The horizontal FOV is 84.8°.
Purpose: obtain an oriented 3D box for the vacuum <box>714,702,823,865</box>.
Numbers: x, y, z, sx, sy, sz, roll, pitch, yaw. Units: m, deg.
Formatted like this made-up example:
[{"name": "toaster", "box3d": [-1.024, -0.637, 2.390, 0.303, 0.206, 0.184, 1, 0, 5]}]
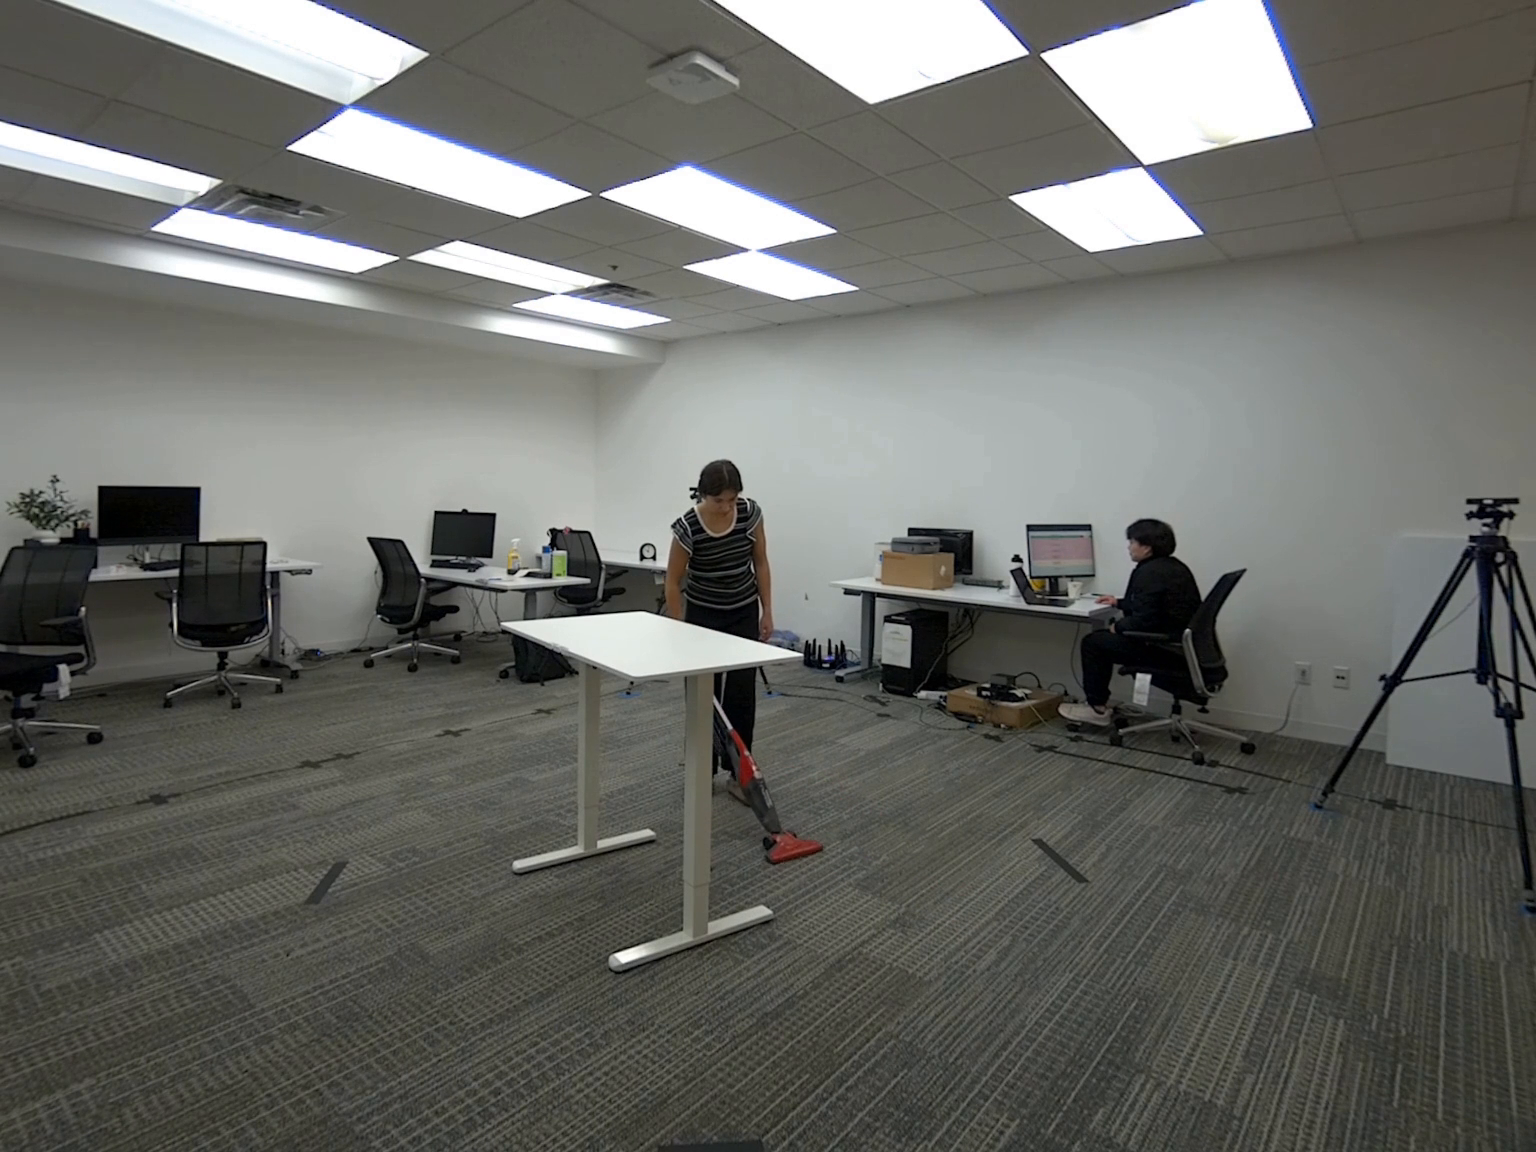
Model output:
[{"name": "vacuum", "box3d": [-0.147, 0.714, 3.590, 0.245, 0.142, 1.094, 3, 36, -34]}]
